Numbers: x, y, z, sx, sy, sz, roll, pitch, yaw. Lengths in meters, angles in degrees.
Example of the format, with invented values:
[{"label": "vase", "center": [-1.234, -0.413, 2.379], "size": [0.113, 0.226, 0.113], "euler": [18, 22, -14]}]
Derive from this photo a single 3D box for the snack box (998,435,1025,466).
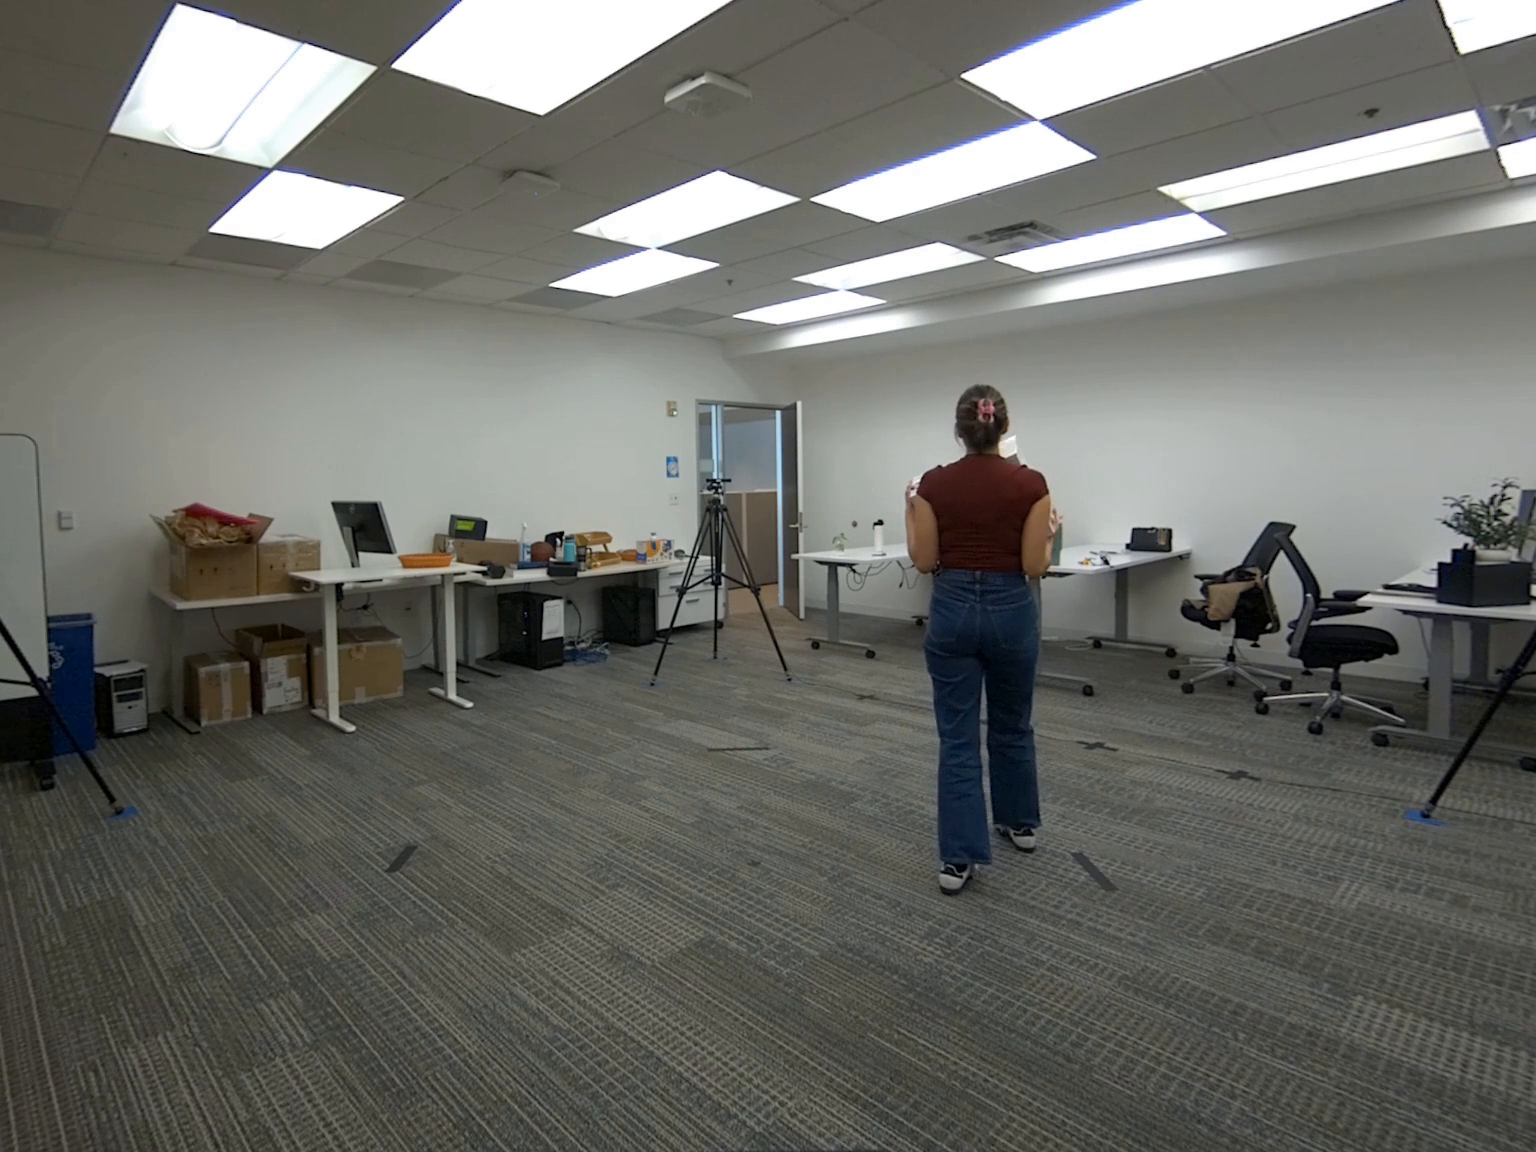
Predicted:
[{"label": "snack box", "center": [0.791, -0.265, 3.167], "size": [0.410, 0.334, 0.207], "euler": [-23, 17, 25]}]
